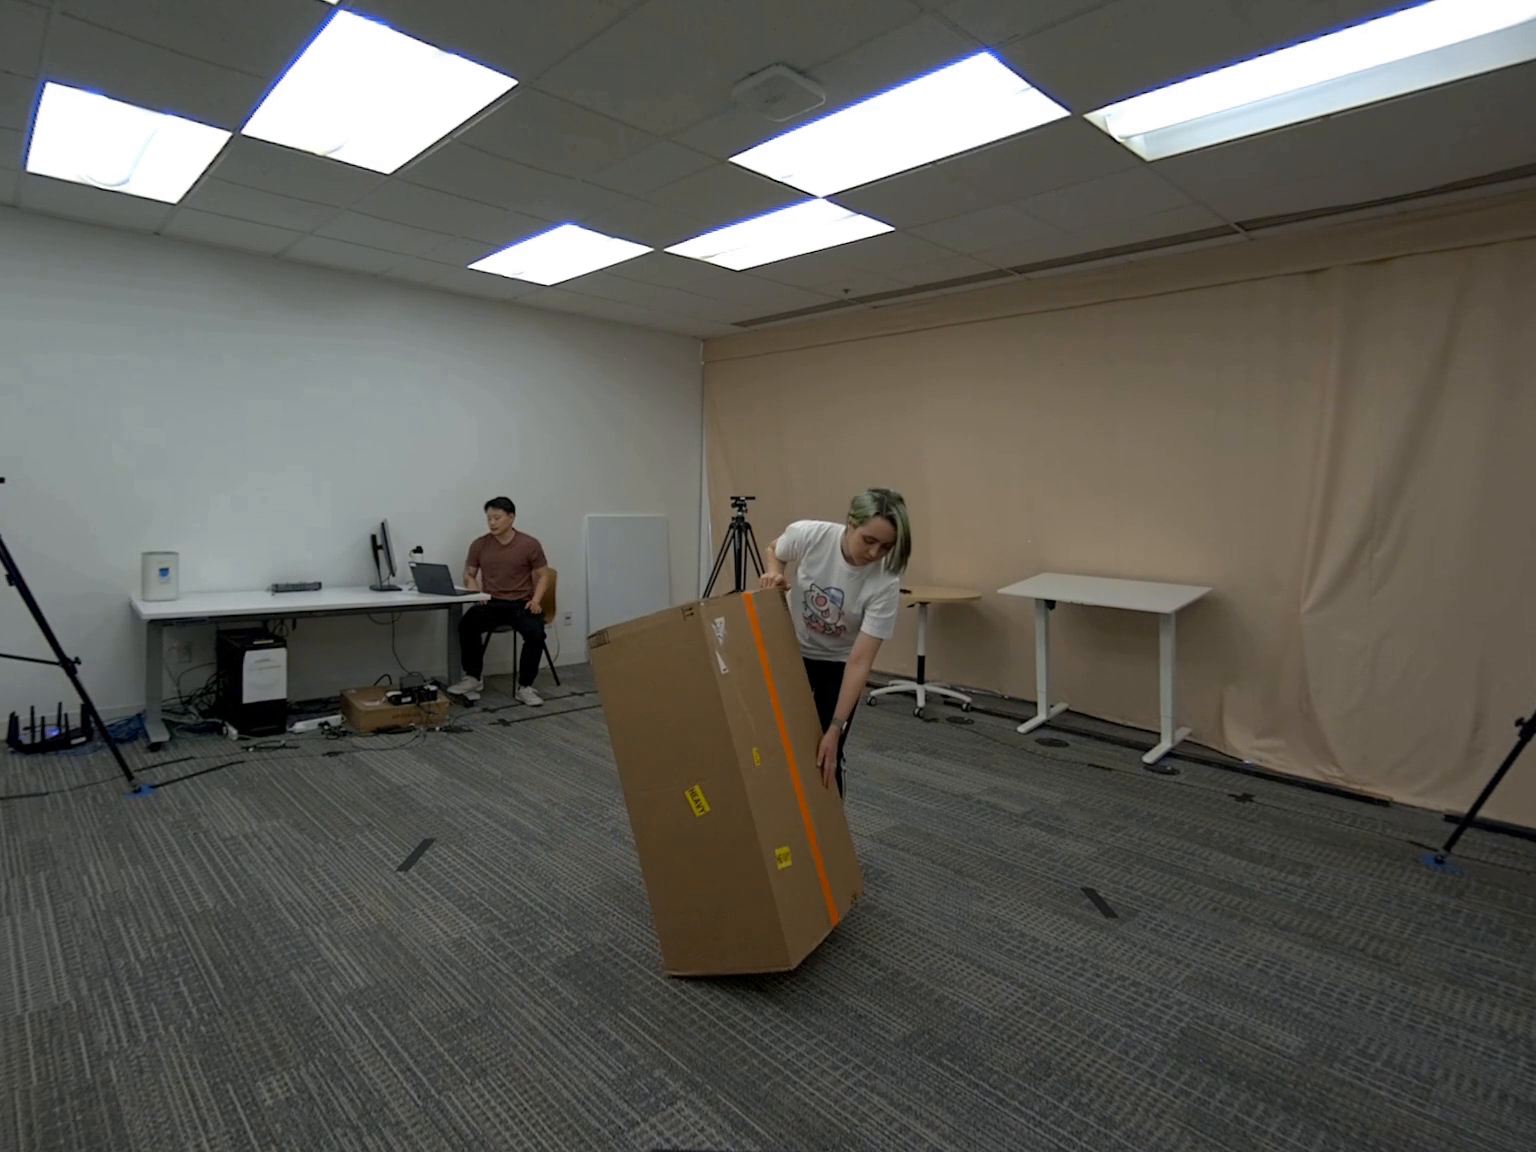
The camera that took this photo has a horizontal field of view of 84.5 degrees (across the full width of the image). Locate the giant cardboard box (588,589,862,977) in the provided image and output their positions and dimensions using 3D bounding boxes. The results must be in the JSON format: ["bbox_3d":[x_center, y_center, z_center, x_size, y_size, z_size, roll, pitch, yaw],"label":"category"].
[{"bbox_3d":[-0.127,0.603,2.645,0.431,1.032,0.567,-19,-7,27],"label":"giant cardboard box"}]
